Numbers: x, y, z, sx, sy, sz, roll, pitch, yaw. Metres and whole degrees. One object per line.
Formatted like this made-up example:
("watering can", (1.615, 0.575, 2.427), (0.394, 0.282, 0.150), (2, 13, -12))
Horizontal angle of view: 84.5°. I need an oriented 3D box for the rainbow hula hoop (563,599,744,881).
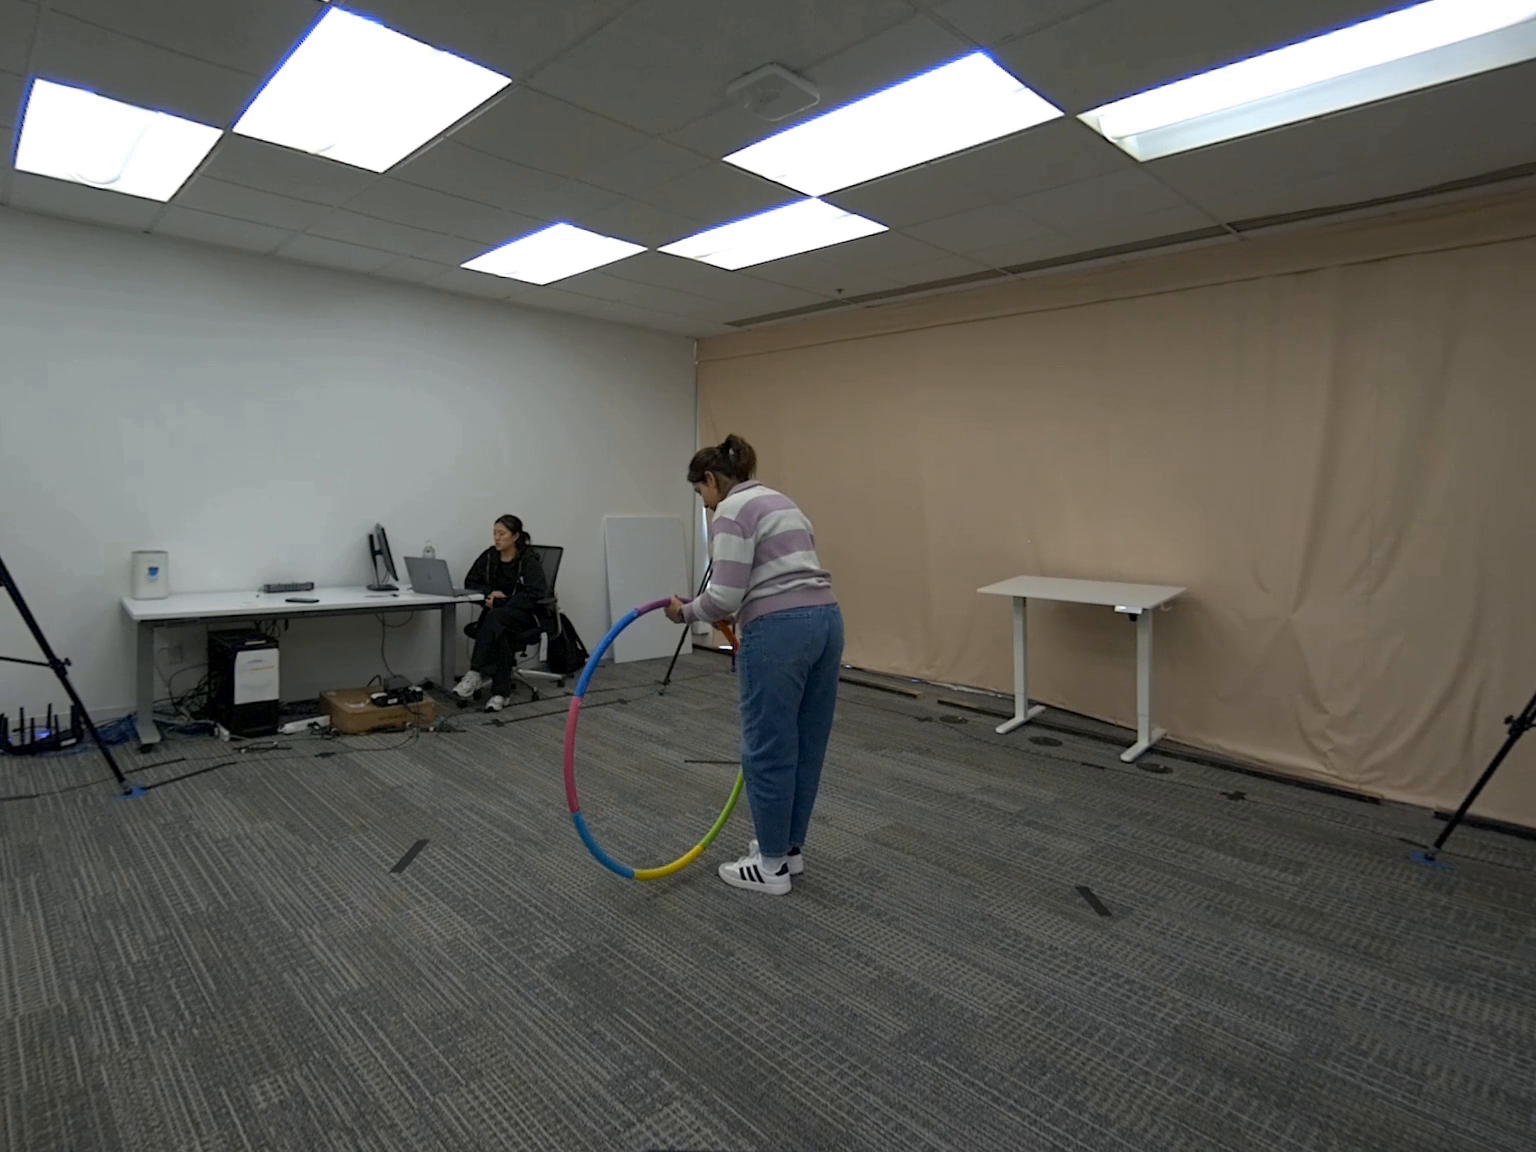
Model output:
("rainbow hula hoop", (-0.363, 0.578, 3.028), (0.053, 0.985, 0.964), (-2, 1, 37))
